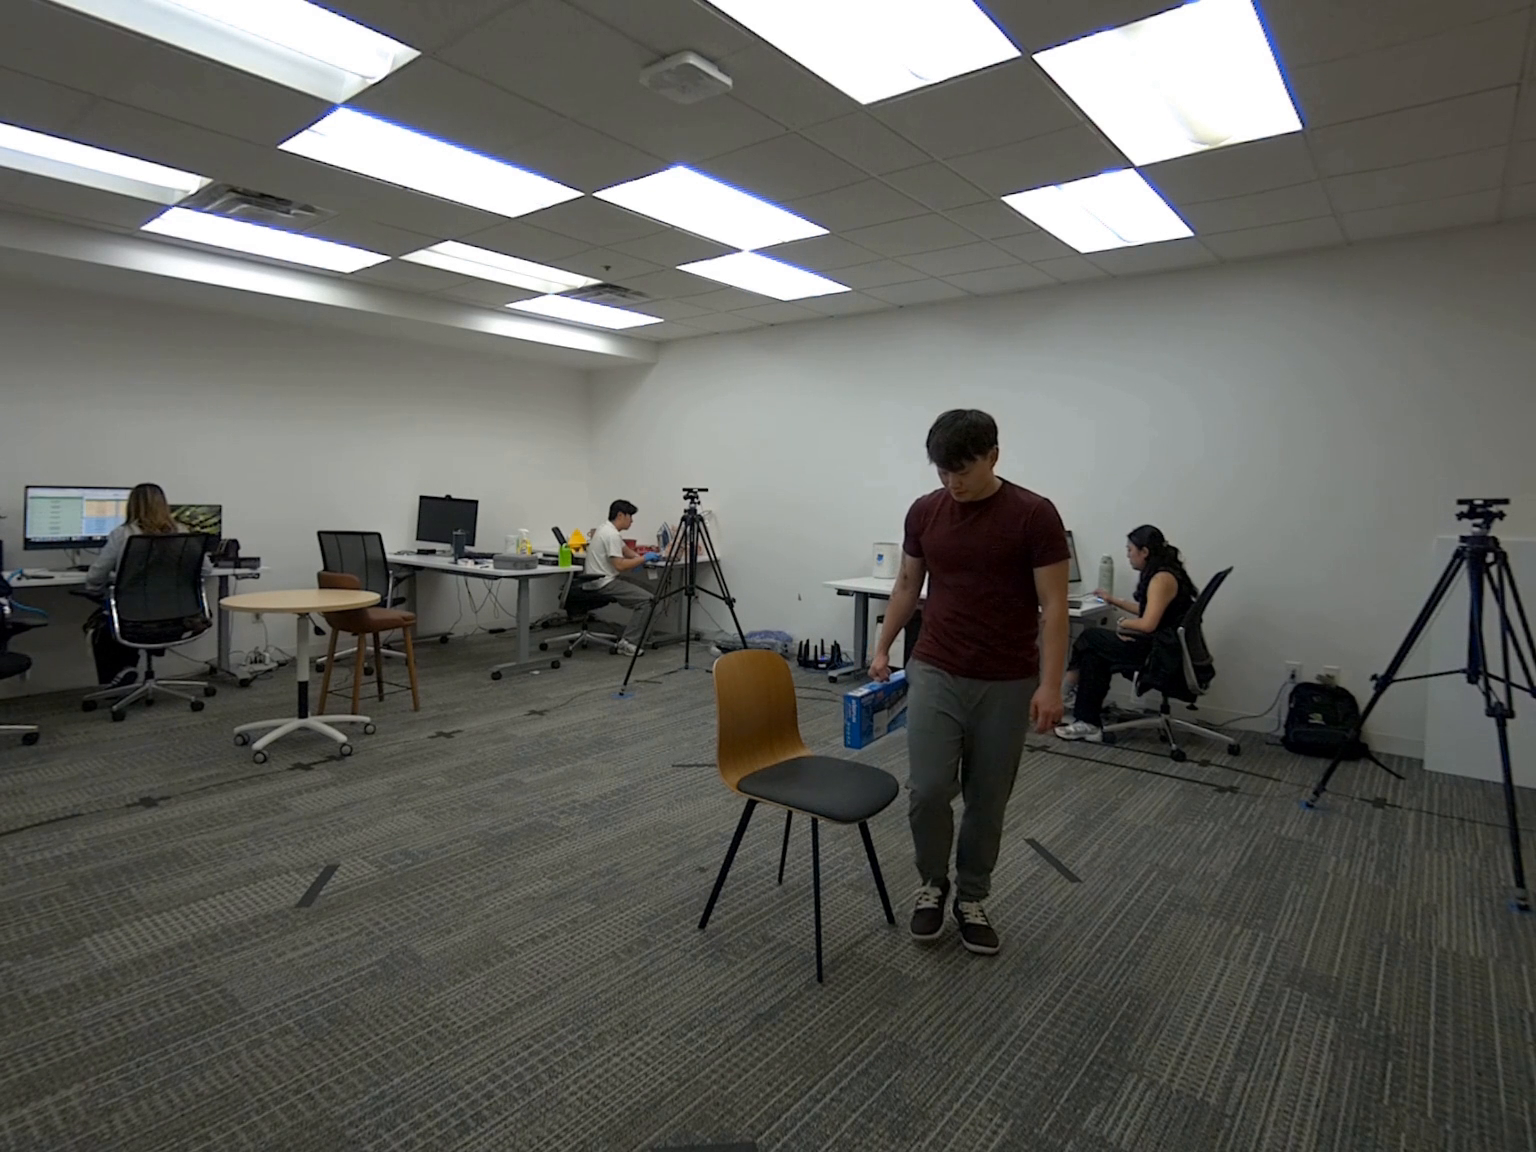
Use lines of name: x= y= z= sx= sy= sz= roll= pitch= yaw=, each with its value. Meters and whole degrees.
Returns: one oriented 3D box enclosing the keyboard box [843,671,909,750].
keyboard box: x=0.379 y=0.448 z=2.880 sx=0.061 sy=0.175 sz=0.425 roll=1 pitch=6 yaw=35
